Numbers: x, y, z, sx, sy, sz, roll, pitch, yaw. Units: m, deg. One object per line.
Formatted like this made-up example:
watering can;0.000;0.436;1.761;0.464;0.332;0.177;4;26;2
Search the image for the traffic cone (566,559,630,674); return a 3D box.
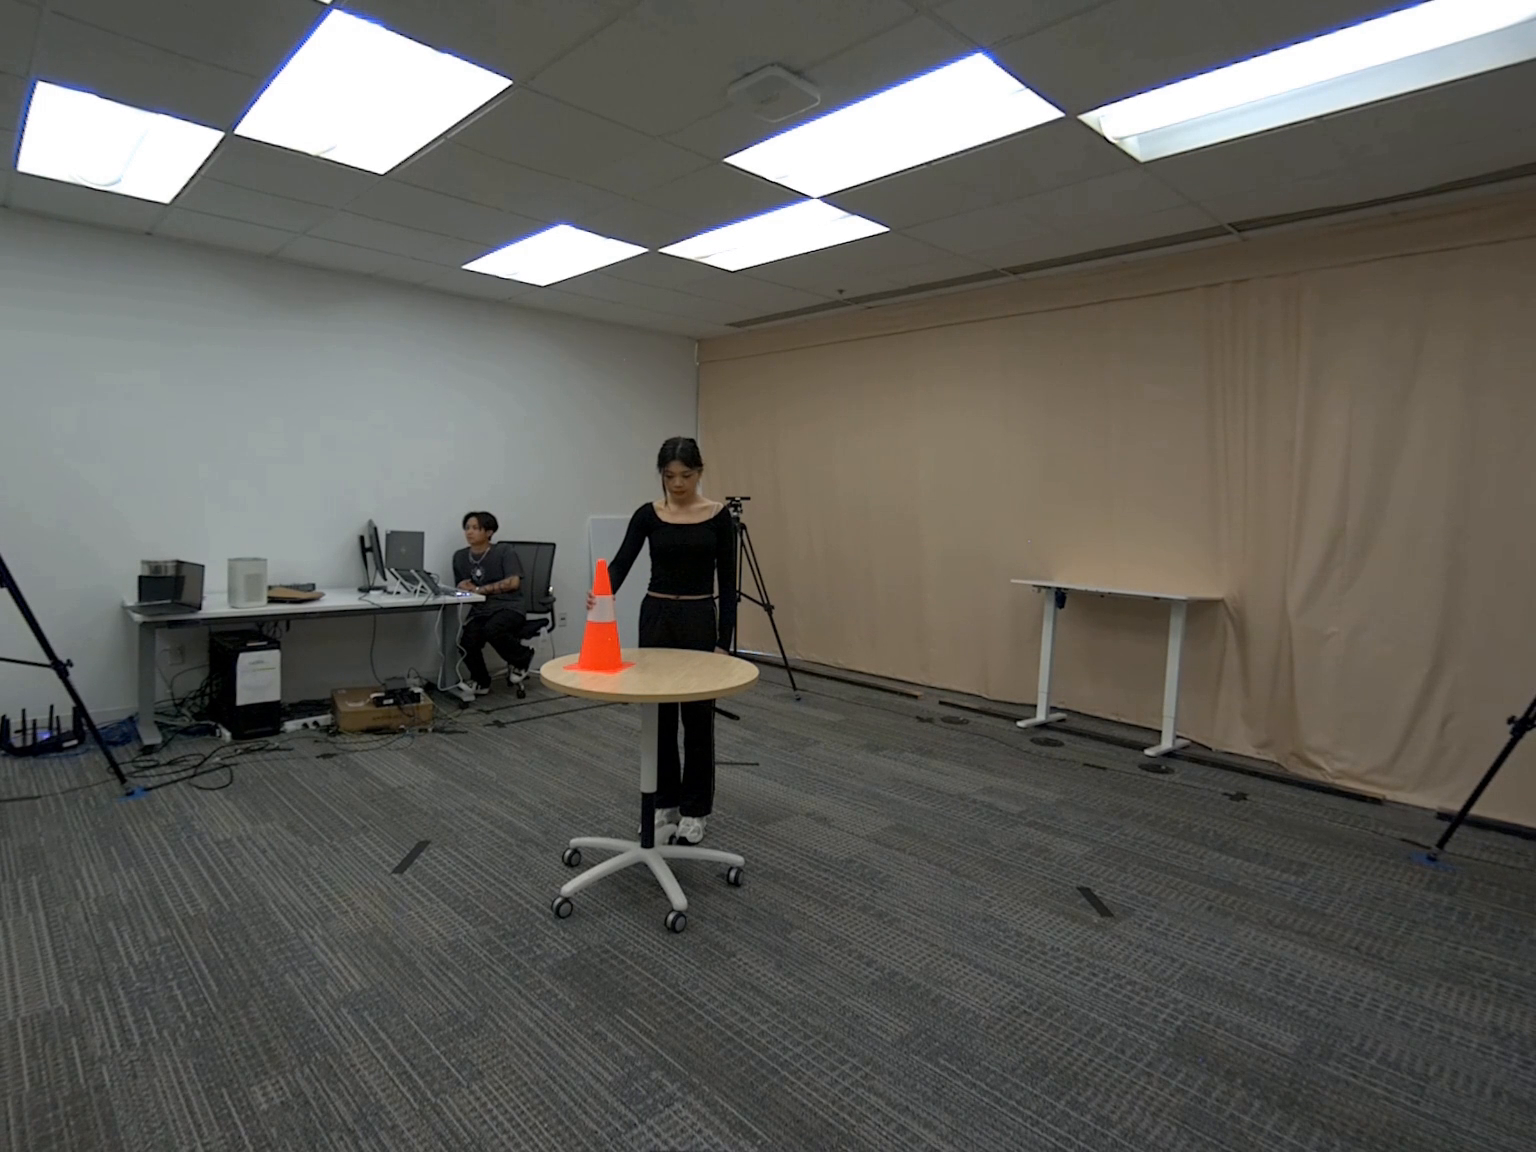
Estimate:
traffic cone;-0.605;0.133;2.988;0.206;0.384;0.202;0;0;9
